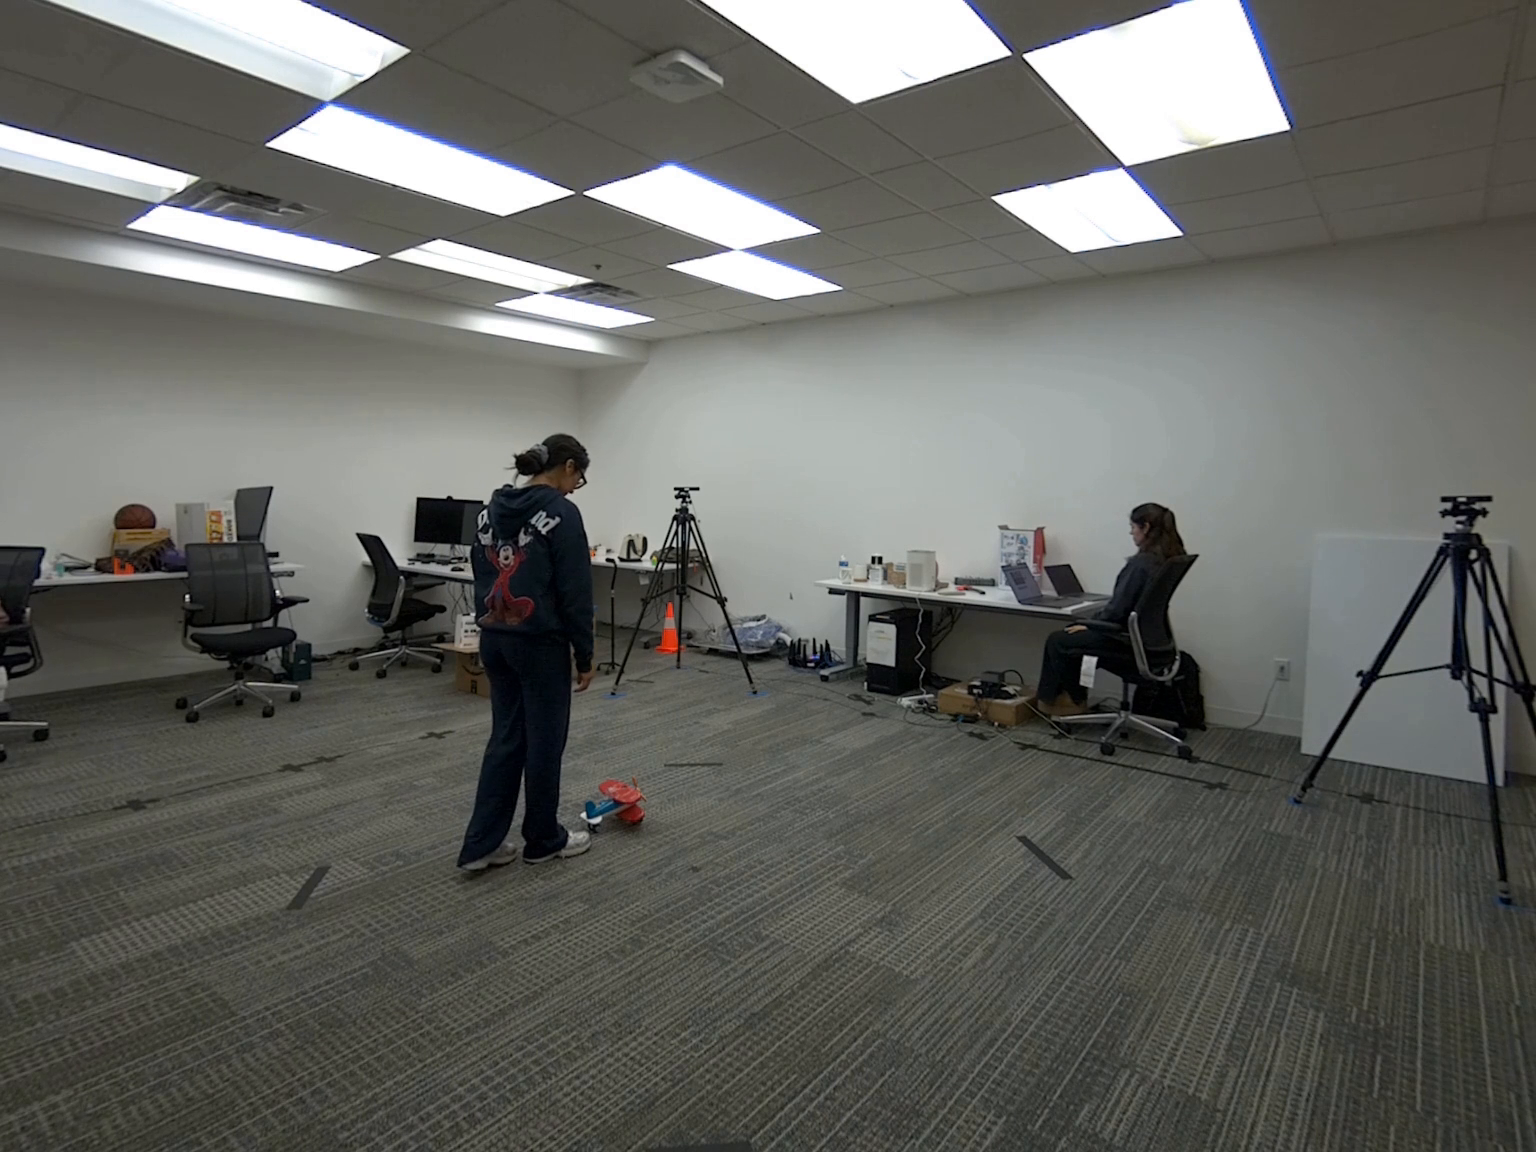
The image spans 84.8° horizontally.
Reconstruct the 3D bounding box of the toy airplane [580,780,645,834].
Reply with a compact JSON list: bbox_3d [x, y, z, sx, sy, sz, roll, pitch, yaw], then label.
[{"bbox_3d":[-0.636,0.950,3.480,0.257,0.156,0.254,3,4,21],"label":"toy airplane"}]
